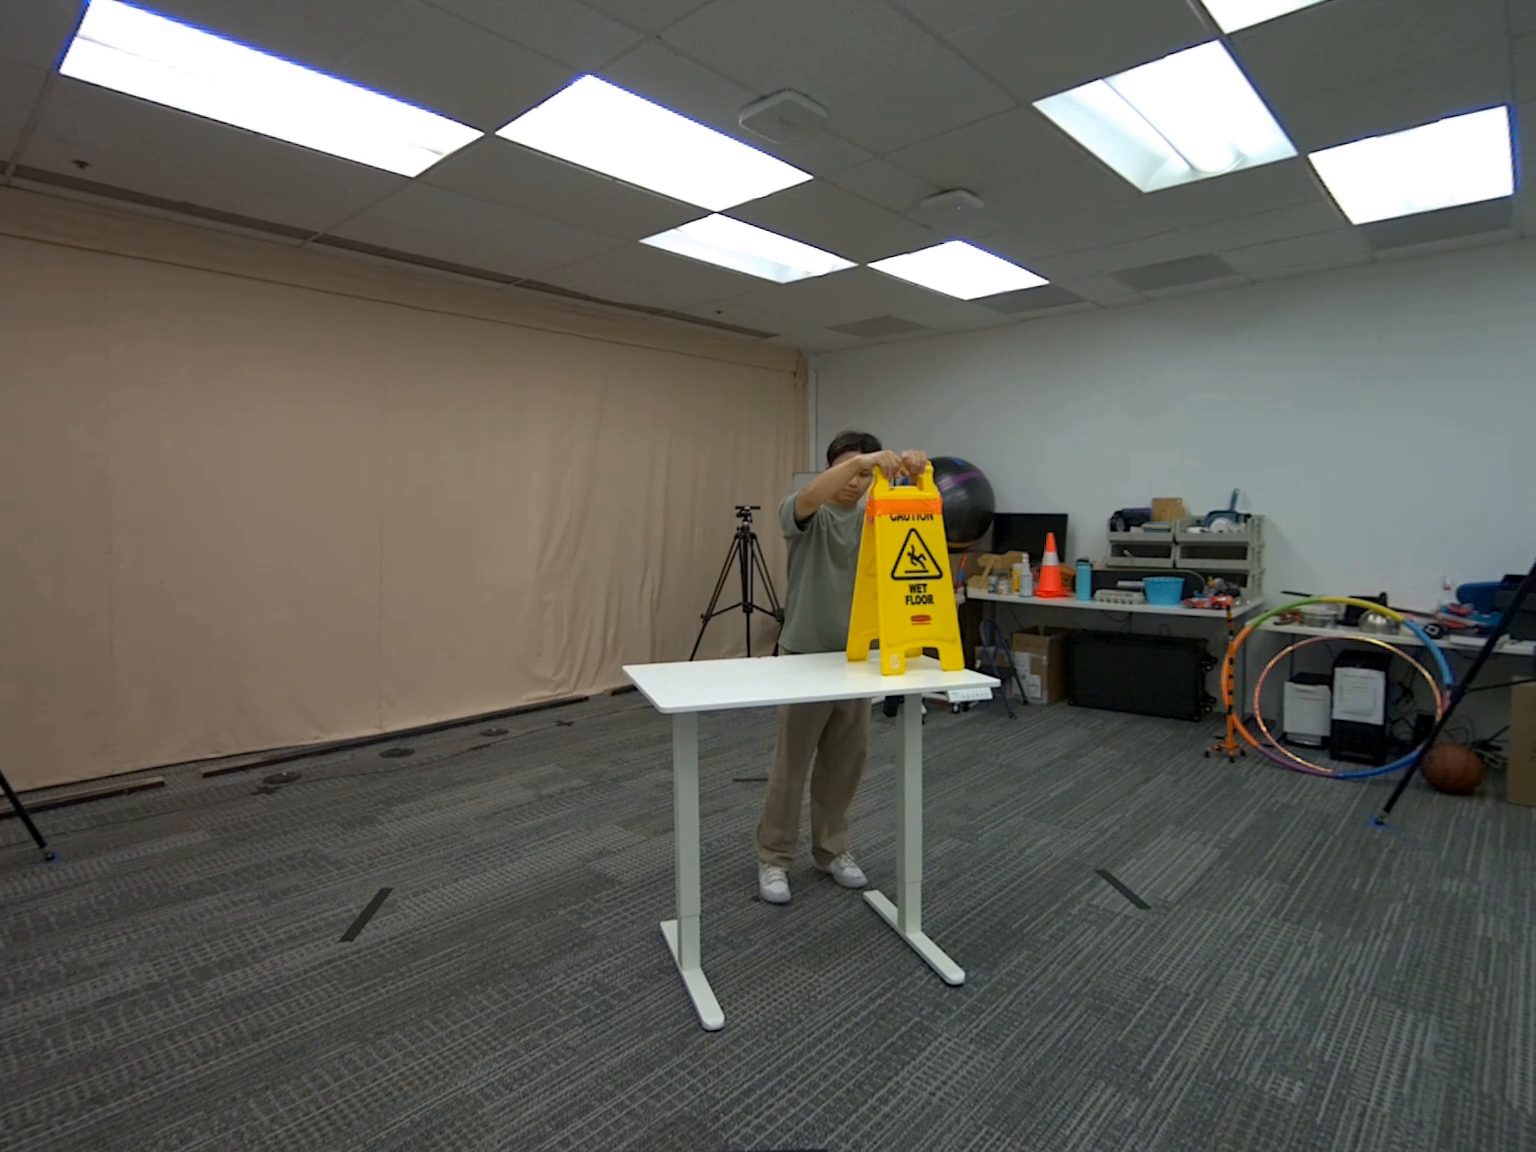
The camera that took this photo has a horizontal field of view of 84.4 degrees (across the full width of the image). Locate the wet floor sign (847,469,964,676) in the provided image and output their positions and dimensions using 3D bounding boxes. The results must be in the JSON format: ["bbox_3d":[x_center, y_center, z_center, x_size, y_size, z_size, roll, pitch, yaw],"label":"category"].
[{"bbox_3d":[0.428,-0.036,2.654,0.277,0.644,0.296,-3,4,-19],"label":"wet floor sign"}]
